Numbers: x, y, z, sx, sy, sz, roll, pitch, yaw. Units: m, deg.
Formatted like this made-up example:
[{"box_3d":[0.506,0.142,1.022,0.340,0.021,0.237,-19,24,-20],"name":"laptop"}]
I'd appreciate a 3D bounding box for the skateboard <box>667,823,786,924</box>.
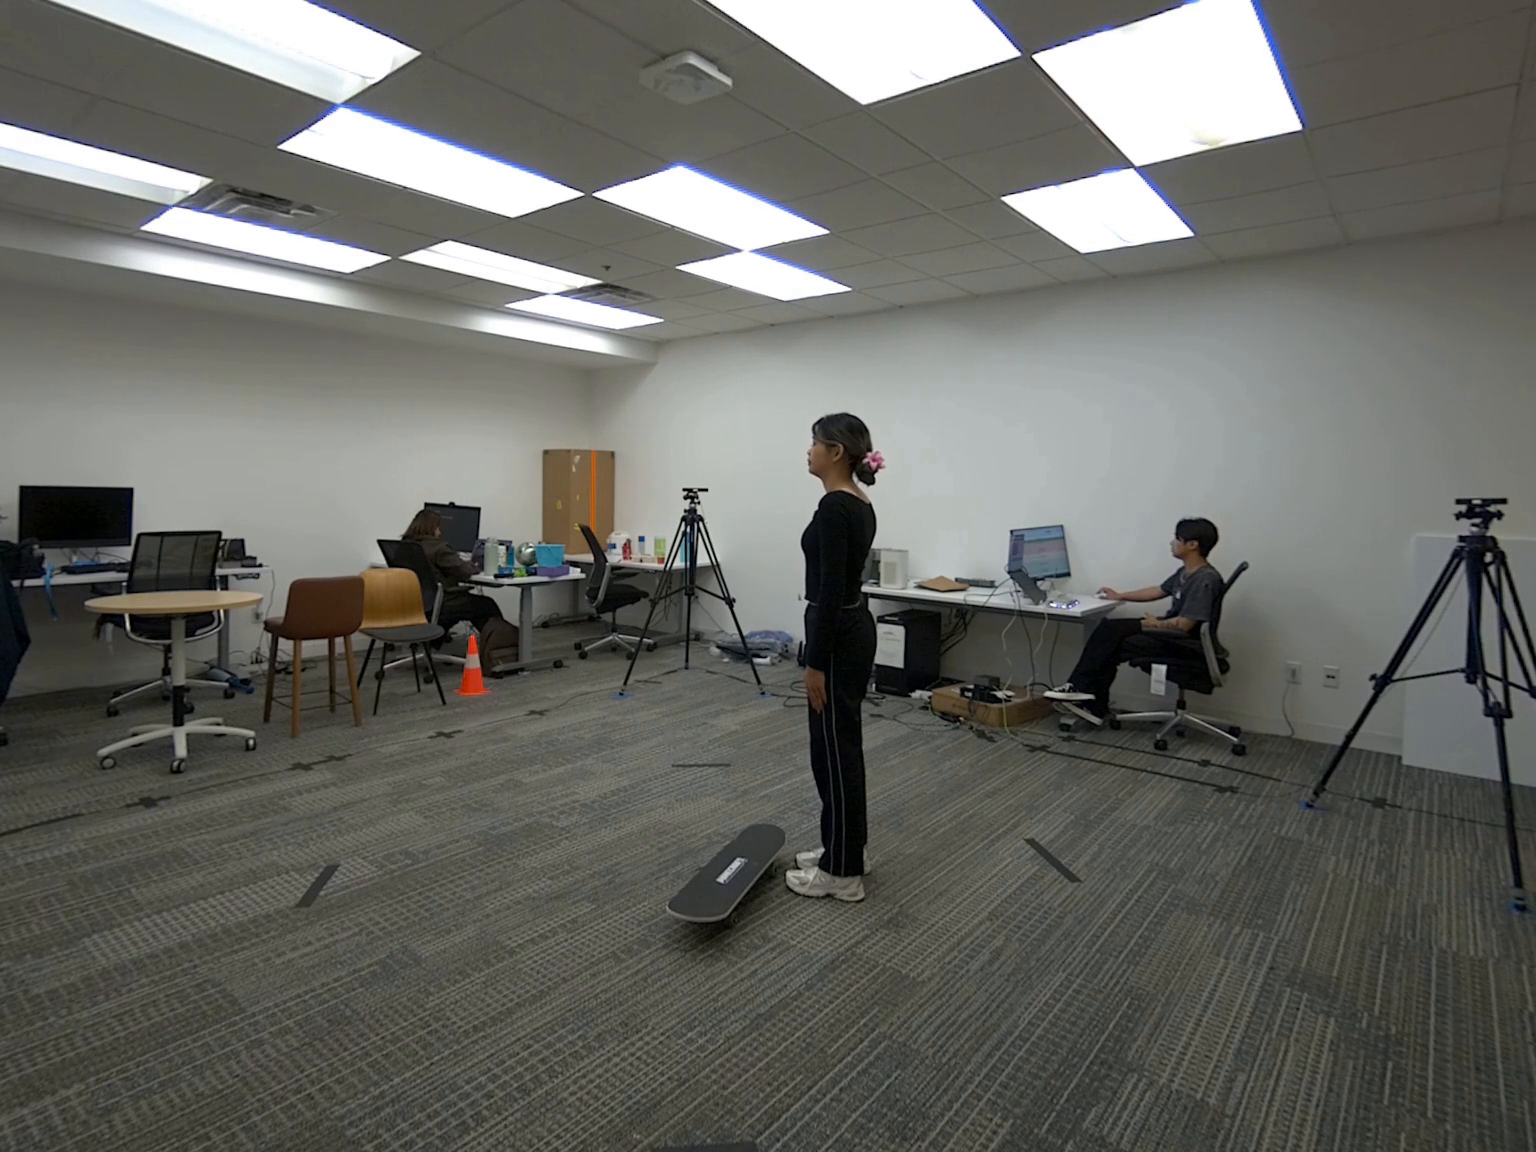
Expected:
[{"box_3d":[-0.131,1.033,2.911,0.198,0.110,0.771,3,6,19],"name":"skateboard"}]
